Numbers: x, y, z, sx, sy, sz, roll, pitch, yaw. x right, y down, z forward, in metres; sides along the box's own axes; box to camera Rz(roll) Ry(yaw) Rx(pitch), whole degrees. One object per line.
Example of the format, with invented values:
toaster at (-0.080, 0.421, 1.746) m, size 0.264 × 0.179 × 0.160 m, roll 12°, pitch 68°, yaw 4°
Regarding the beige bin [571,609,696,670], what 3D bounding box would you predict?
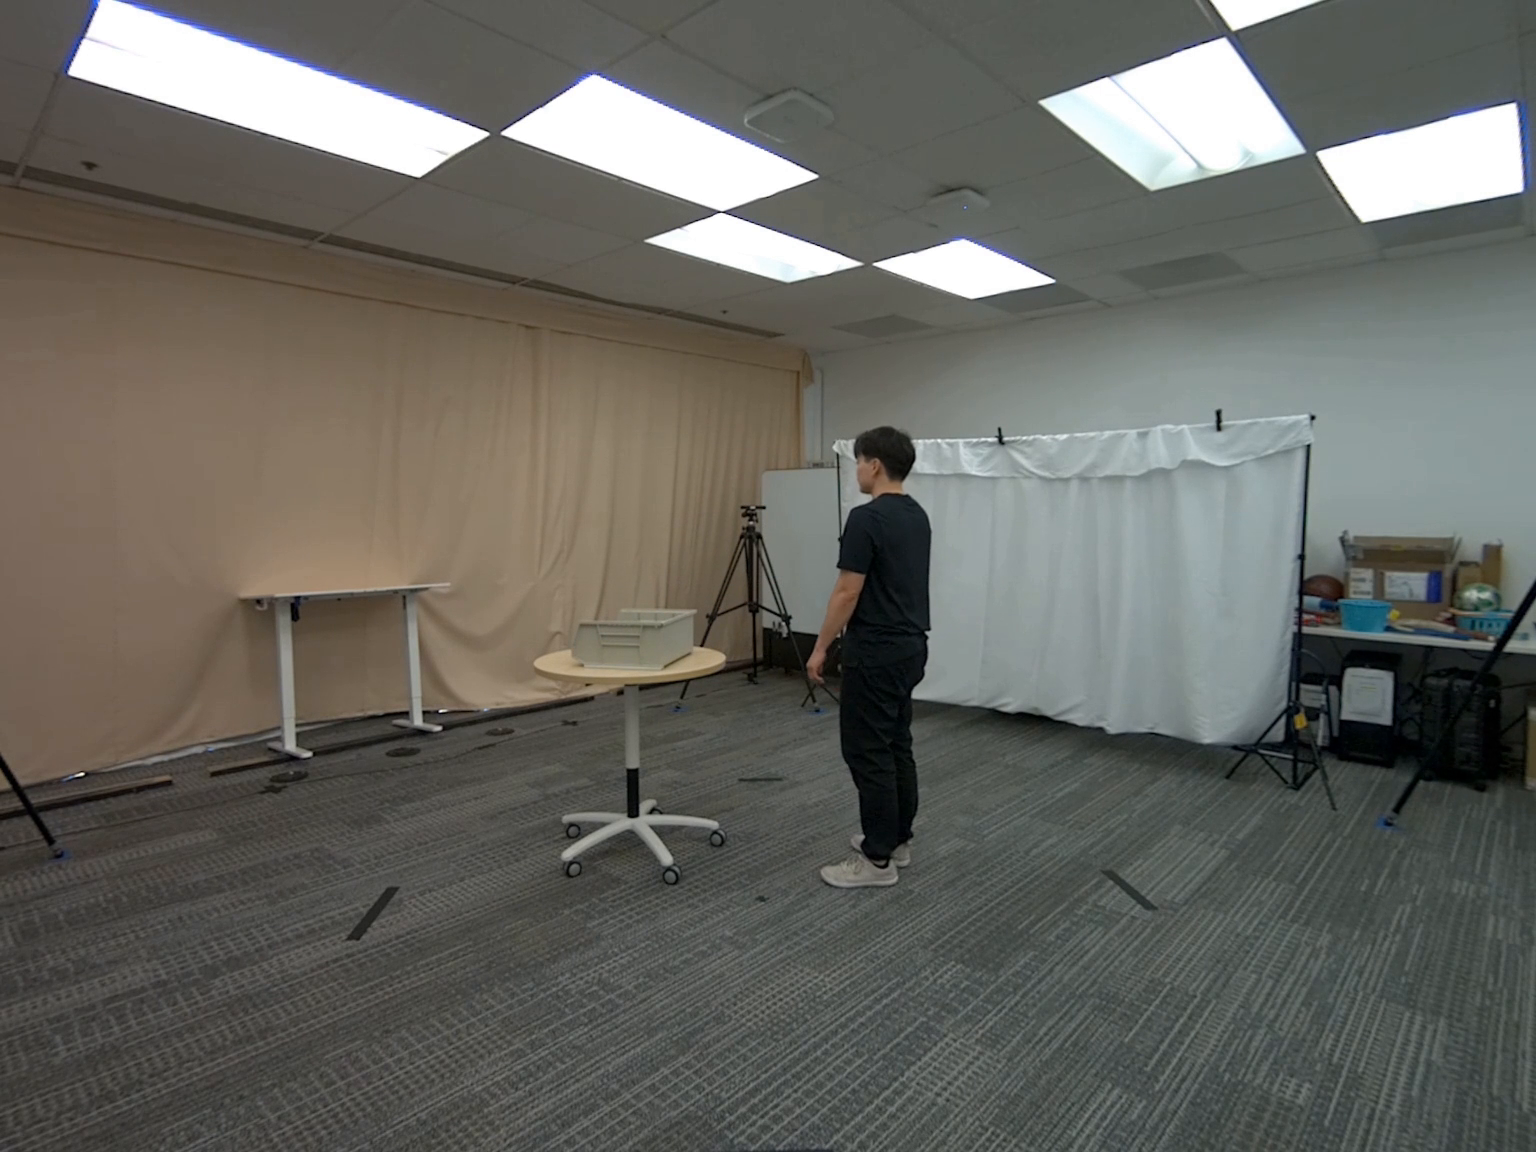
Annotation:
beige bin at (-0.521, 0.248, 3.357) m, size 0.383 × 0.188 × 0.417 m, roll 1°, pitch 4°, yaw 13°
